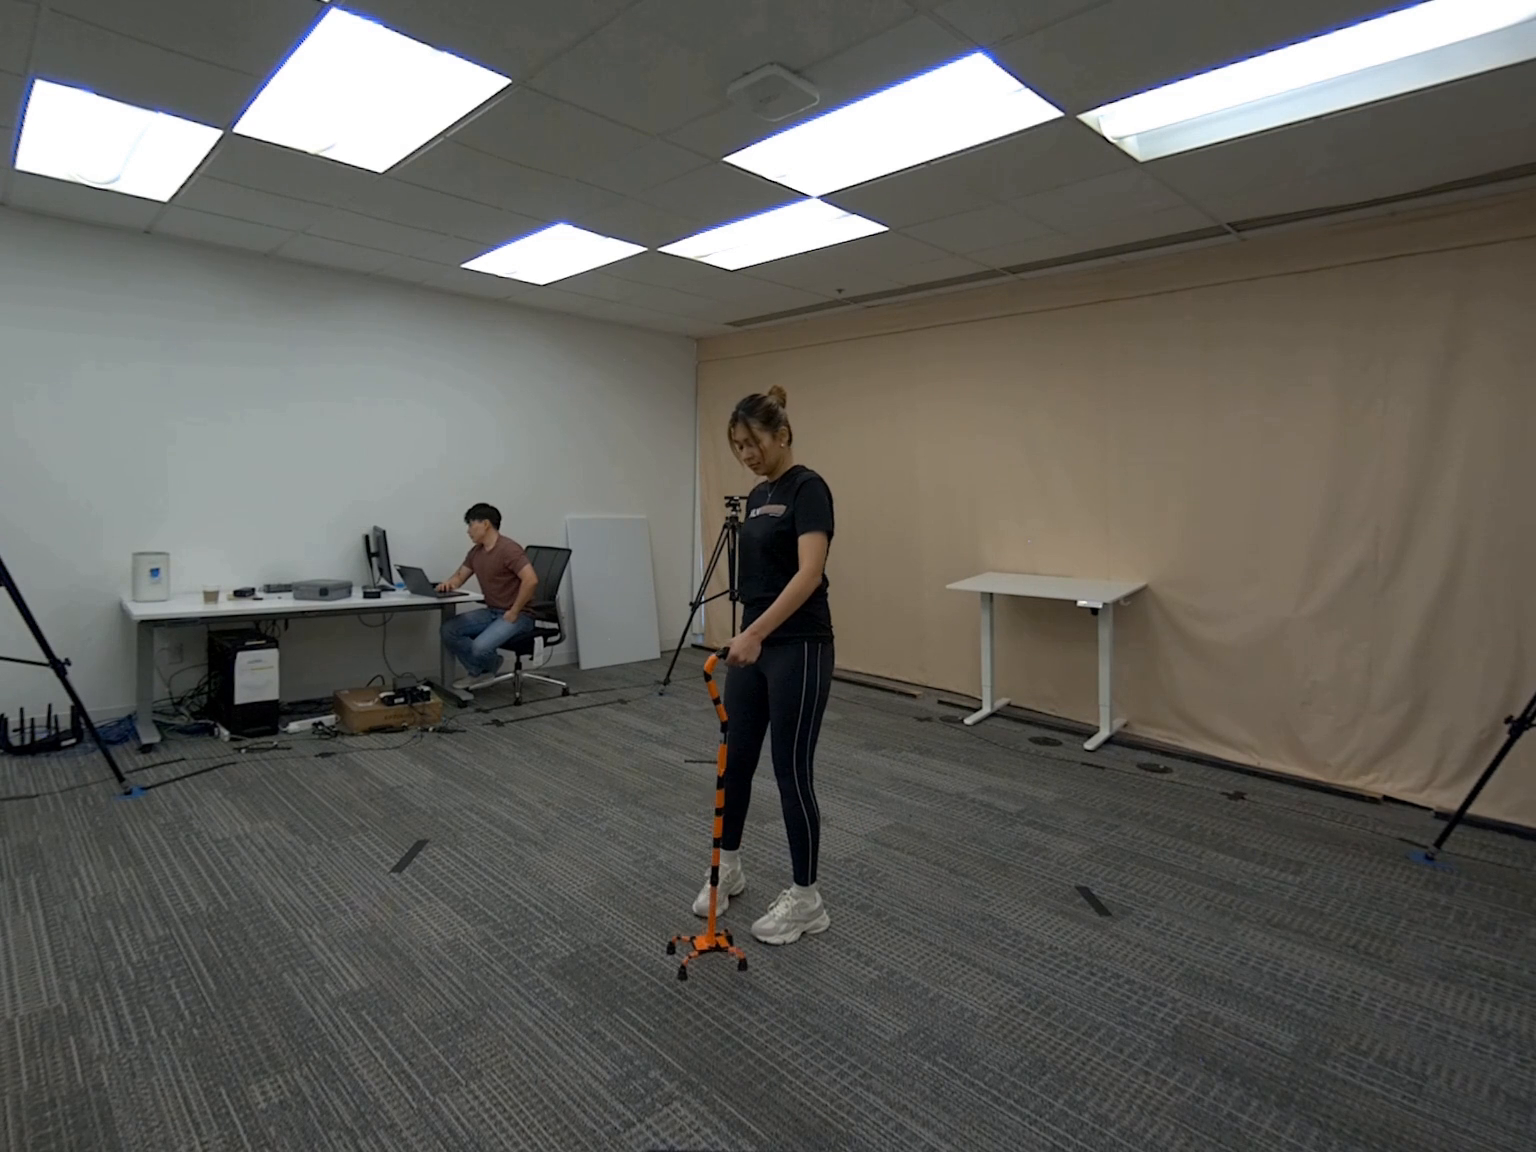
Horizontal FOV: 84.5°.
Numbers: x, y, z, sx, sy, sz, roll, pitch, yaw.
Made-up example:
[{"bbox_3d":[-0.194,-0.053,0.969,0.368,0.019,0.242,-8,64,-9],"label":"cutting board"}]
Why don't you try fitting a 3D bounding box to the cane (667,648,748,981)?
[{"bbox_3d":[-0.149,0.655,2.344,0.203,0.904,0.155,2,6,-22],"label":"cane"}]
